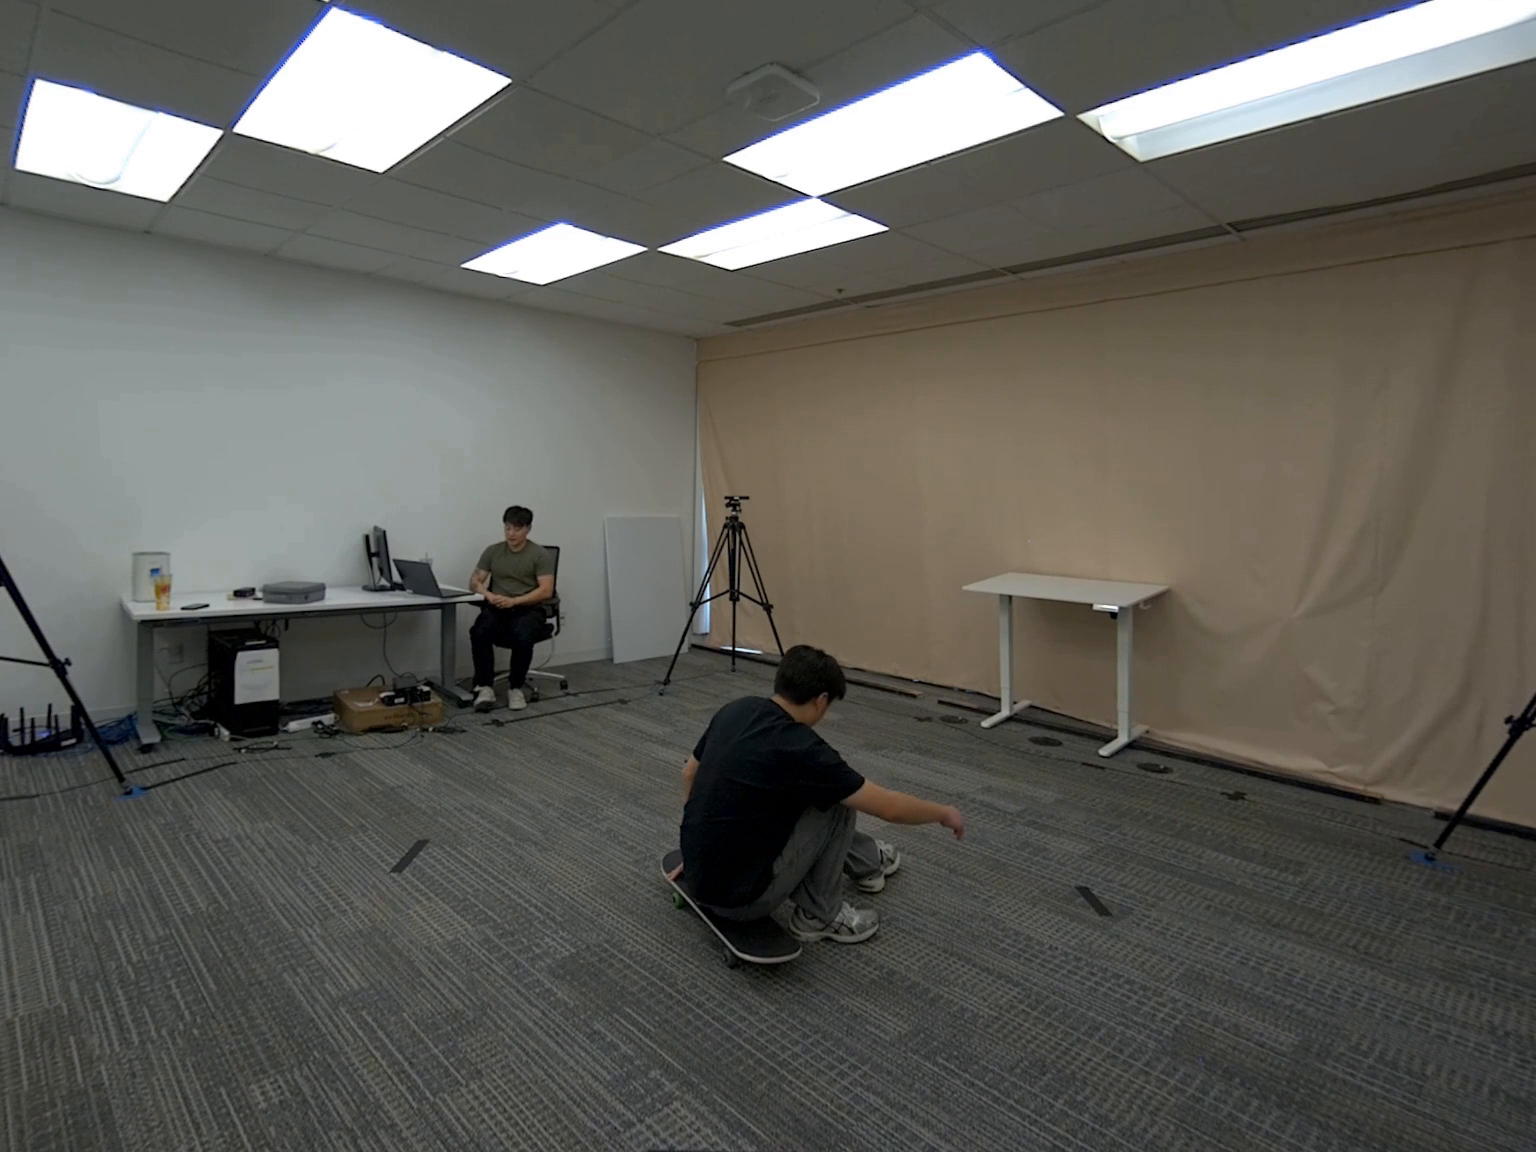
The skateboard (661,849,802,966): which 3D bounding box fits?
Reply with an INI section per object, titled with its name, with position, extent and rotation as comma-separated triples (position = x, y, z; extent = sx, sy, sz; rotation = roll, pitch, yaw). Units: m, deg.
[skateboard]
position = -0.151, 1.085, 2.709
extent = 0.190, 0.110, 0.803
rotation = -1, 6, -28
